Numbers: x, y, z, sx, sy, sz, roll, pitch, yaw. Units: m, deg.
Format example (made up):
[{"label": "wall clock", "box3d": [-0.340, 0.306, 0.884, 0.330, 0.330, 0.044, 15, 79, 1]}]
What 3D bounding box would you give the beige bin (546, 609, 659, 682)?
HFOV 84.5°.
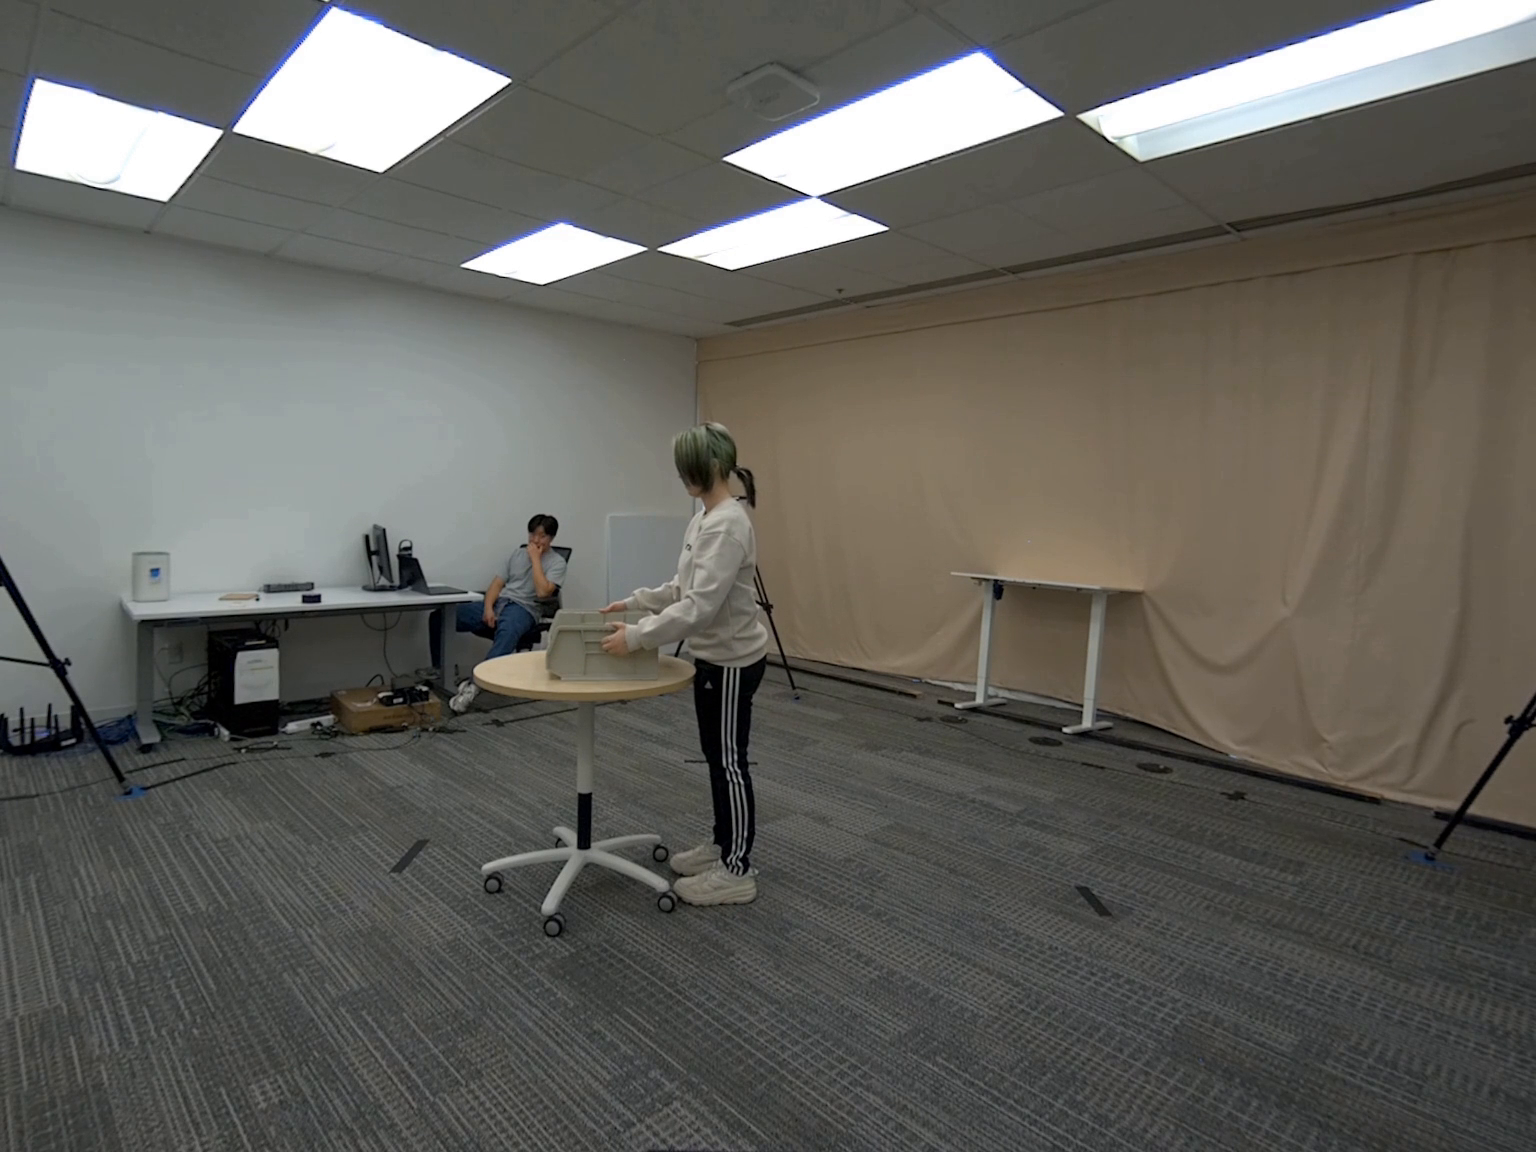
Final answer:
[{"label": "beige bin", "box3d": [-0.586, 0.234, 2.950, 0.374, 0.188, 0.427, 1, 4, -13]}]
